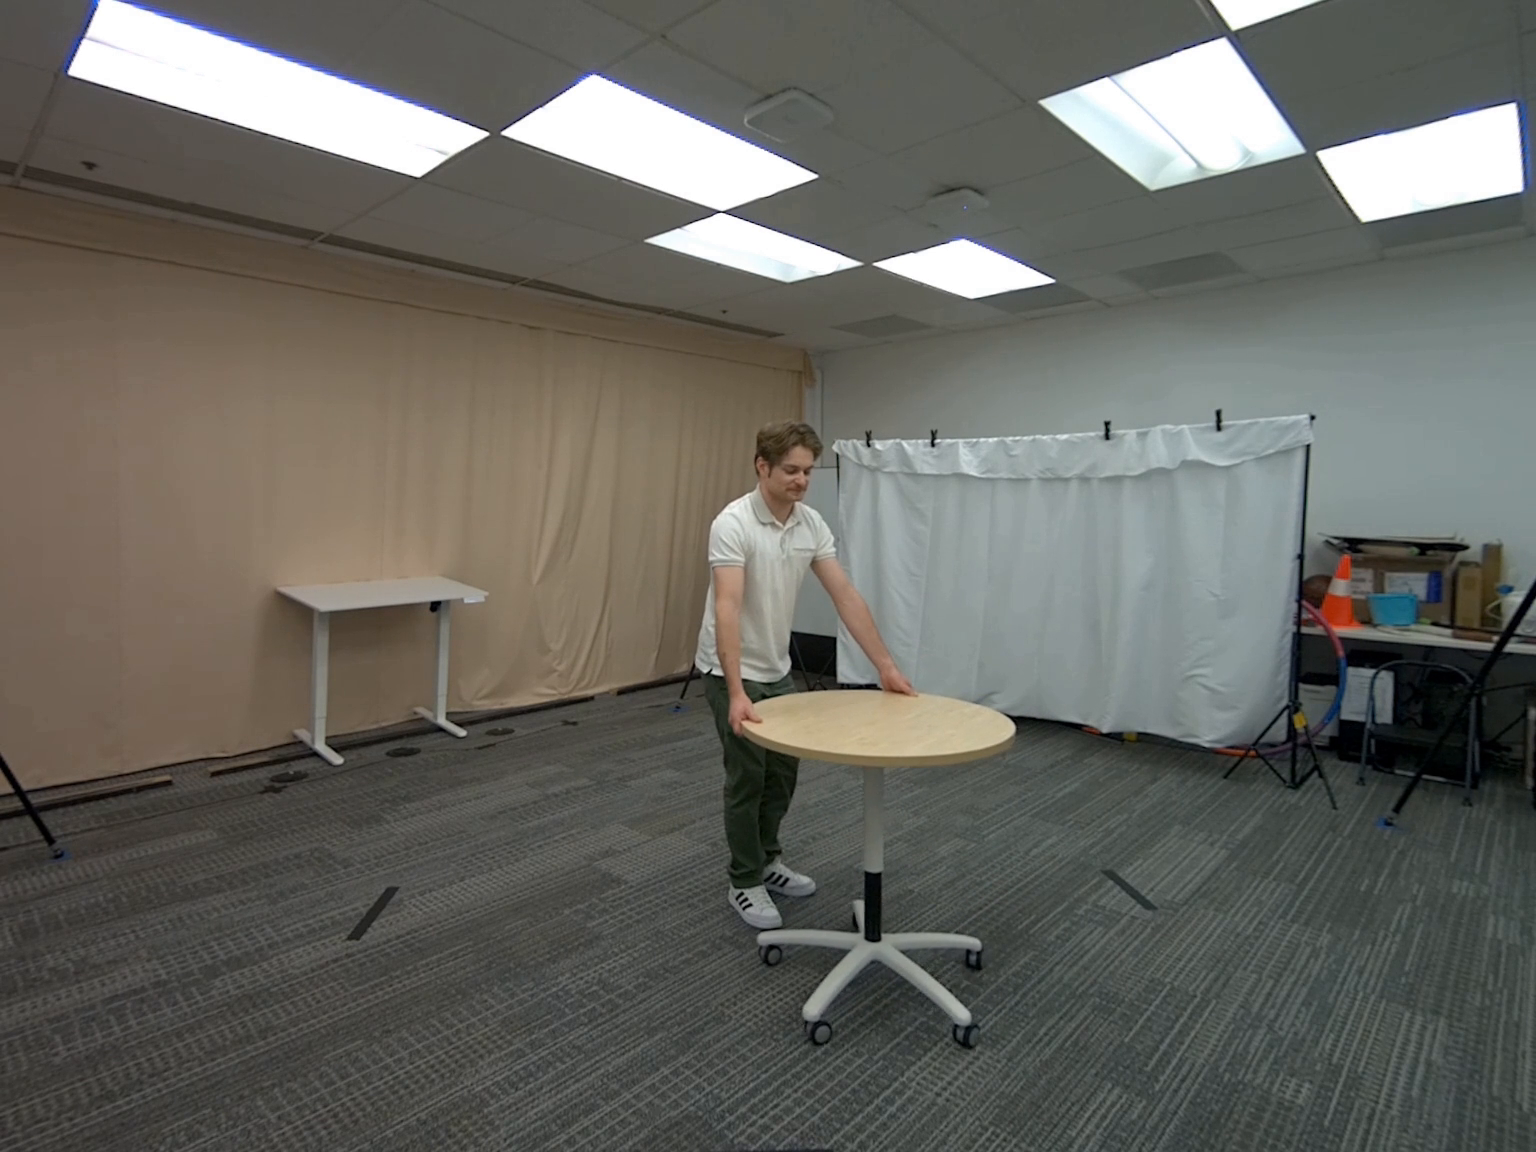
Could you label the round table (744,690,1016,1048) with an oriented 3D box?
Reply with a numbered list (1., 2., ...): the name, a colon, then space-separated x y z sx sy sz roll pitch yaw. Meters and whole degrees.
1. round table: 0.309 0.801 2.426 0.763 0.792 0.767 0 4 -2
